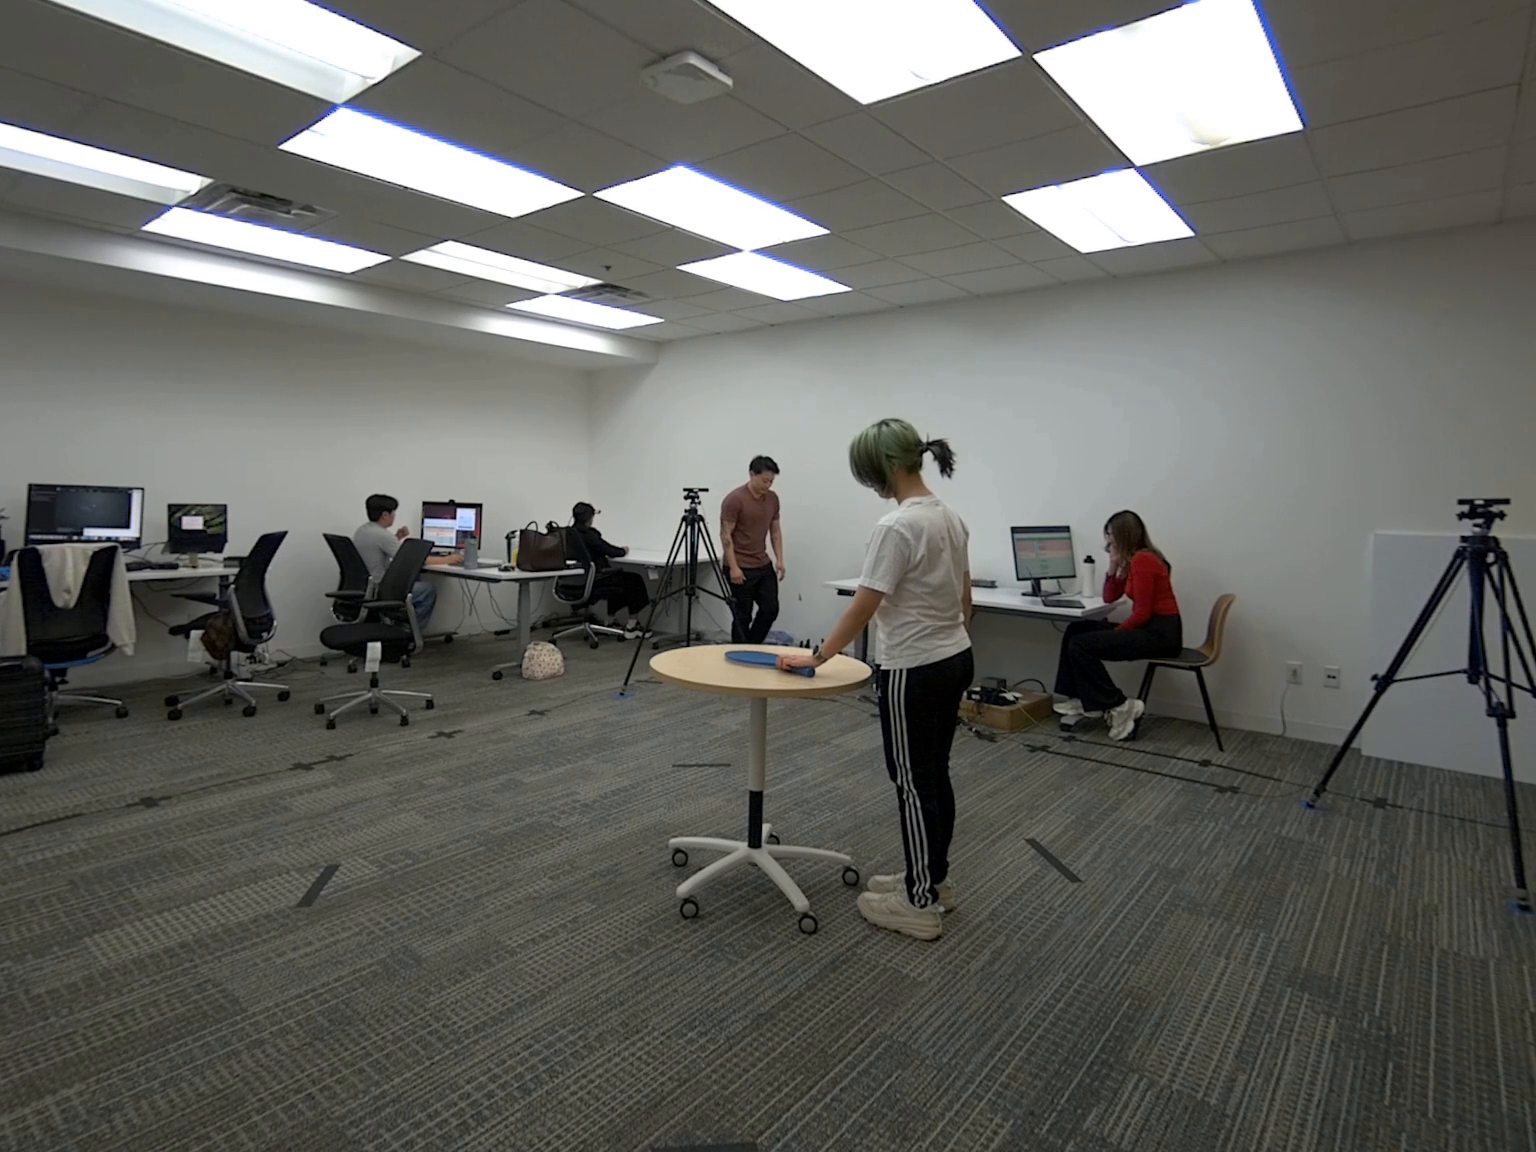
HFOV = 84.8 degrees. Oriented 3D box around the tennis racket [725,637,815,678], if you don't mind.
[{"bbox_3d":[0.004,0.294,2.942,0.207,0.032,0.447,0,4,-41],"label":"tennis racket"}]
